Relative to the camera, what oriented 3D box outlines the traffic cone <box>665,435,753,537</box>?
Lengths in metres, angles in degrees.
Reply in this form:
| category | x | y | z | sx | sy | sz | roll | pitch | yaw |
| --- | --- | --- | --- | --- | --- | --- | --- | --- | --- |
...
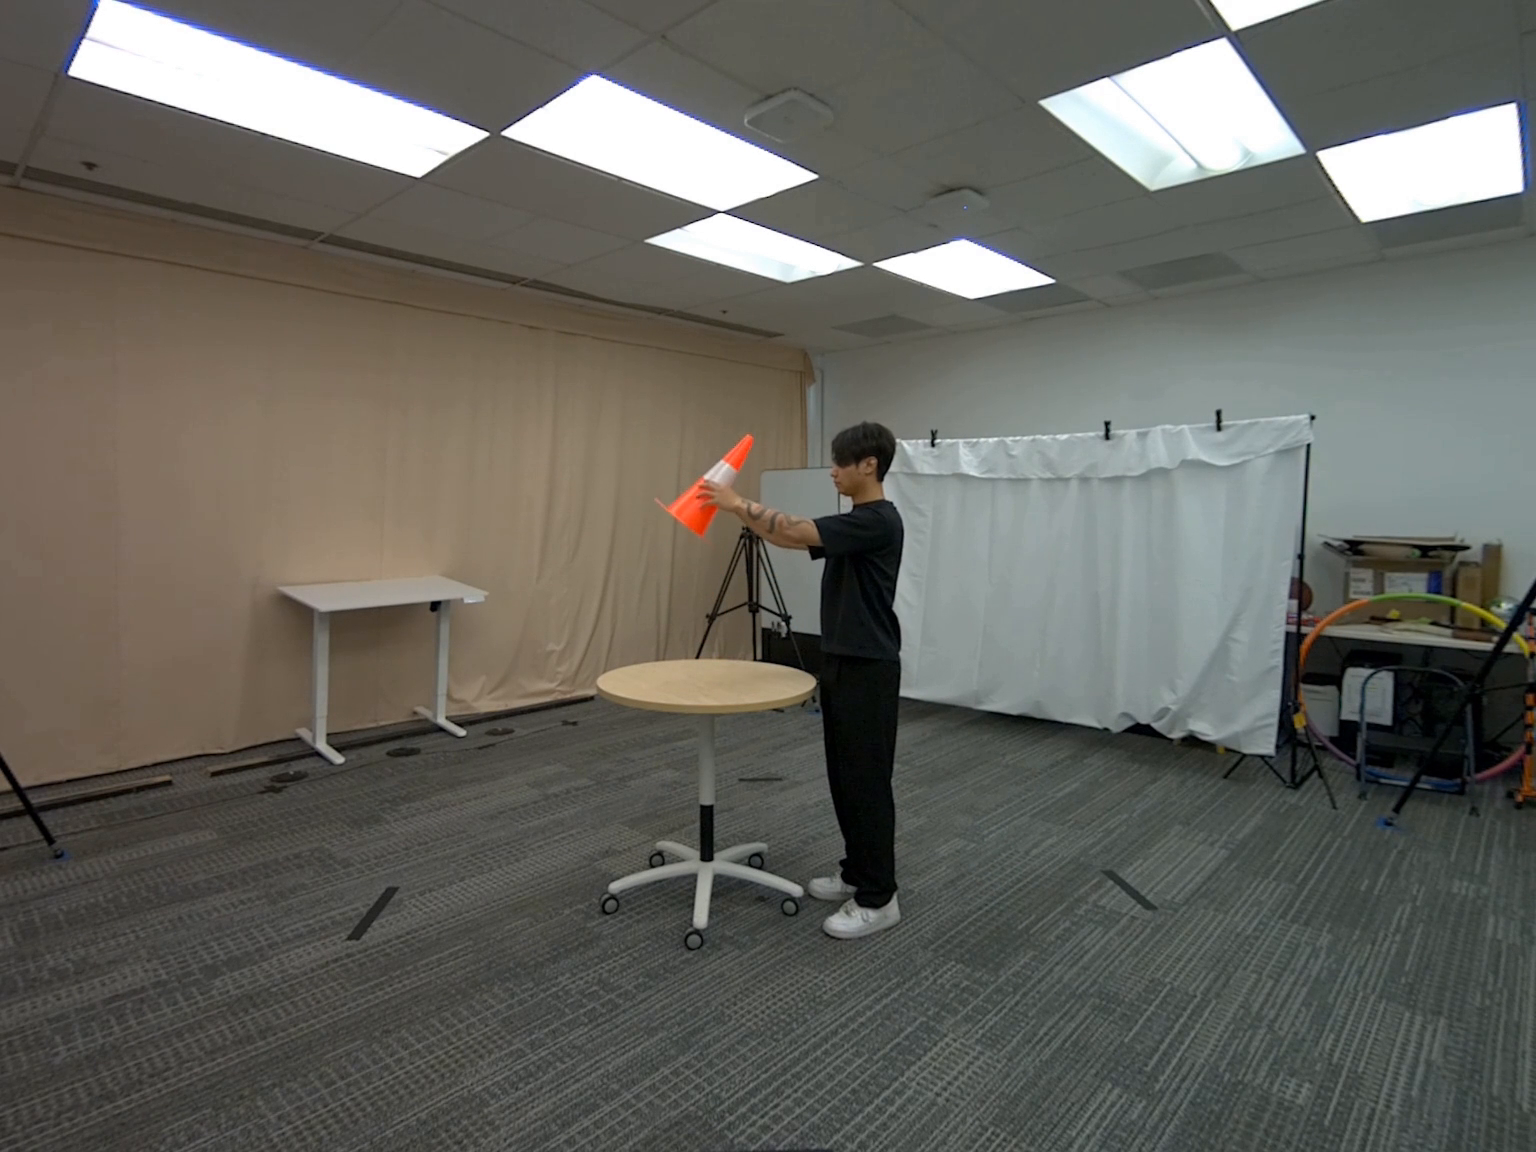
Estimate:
| category | x | y | z | sx | sy | sz | roll | pitch | yaw |
| --- | --- | --- | --- | --- | --- | --- | --- | --- | --- |
| traffic cone | -0.168 | -0.325 | 2.936 | 0.212 | 0.383 | 0.196 | 38 | 0 | 43 |
